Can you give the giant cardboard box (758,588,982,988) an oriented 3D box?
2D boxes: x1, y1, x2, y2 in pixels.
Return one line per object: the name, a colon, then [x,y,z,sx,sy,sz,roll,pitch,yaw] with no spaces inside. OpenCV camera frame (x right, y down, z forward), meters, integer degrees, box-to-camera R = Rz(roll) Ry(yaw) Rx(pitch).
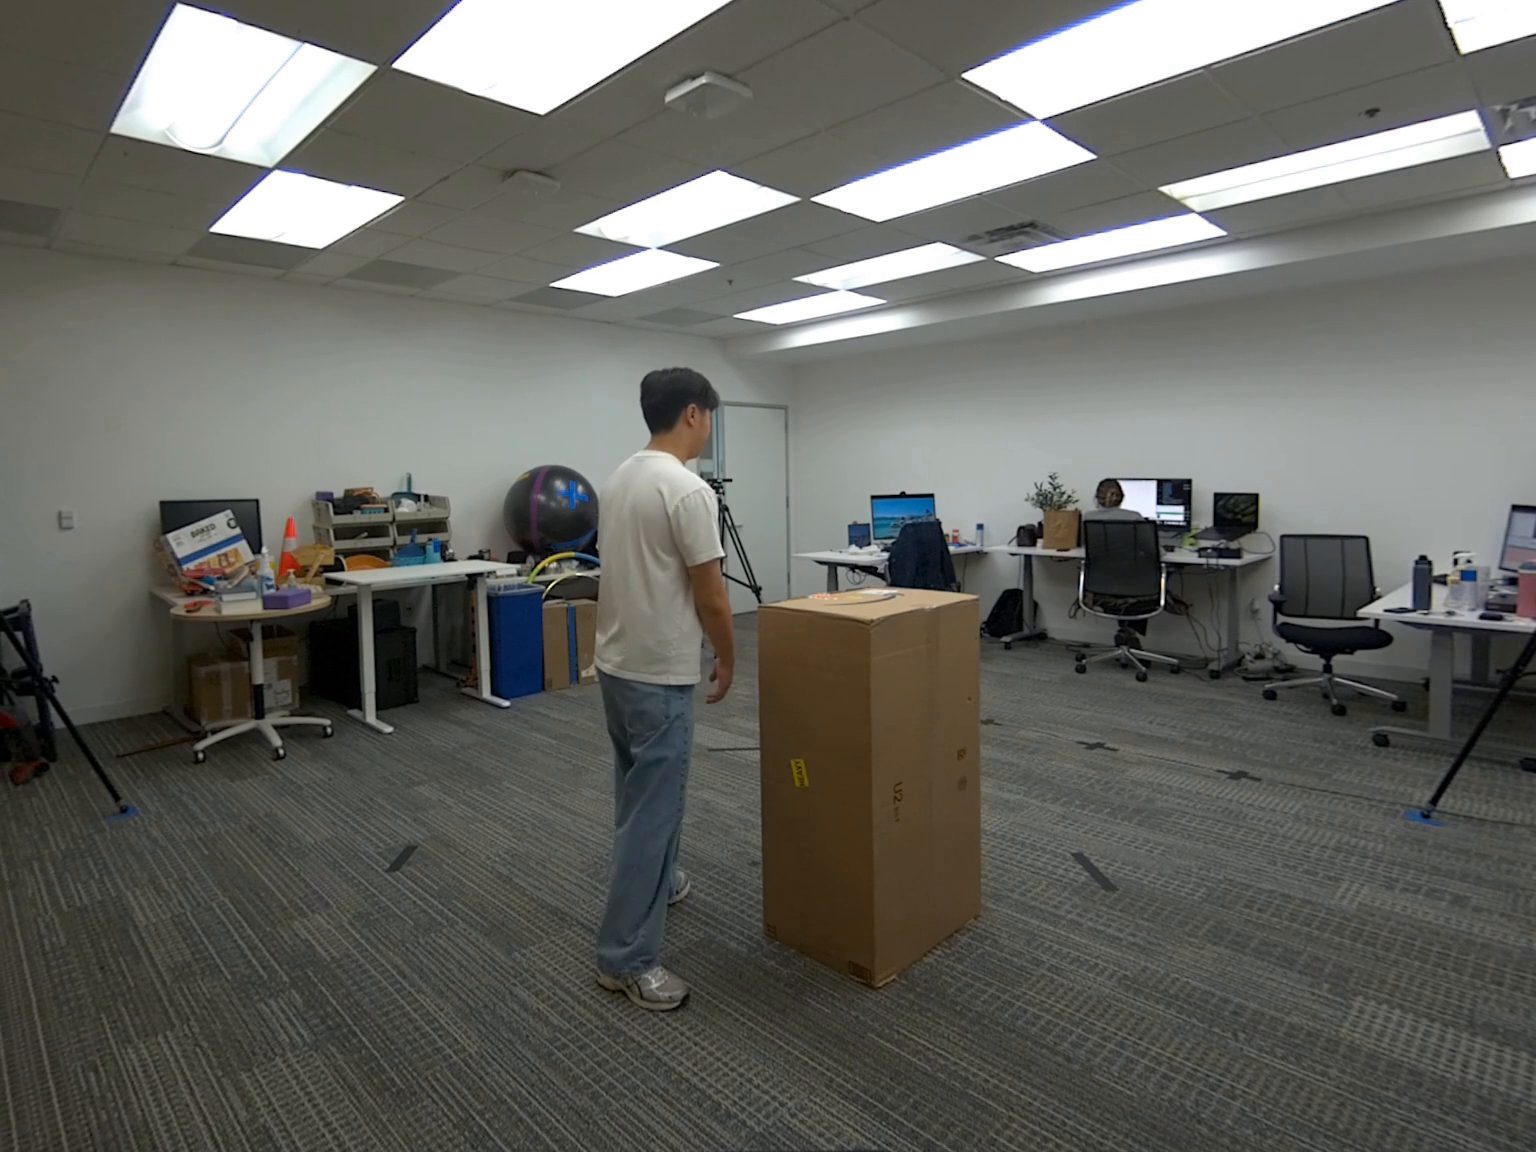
giant cardboard box: [0.328,0.584,2.649,0.439,1.022,0.562,2,5,44]
